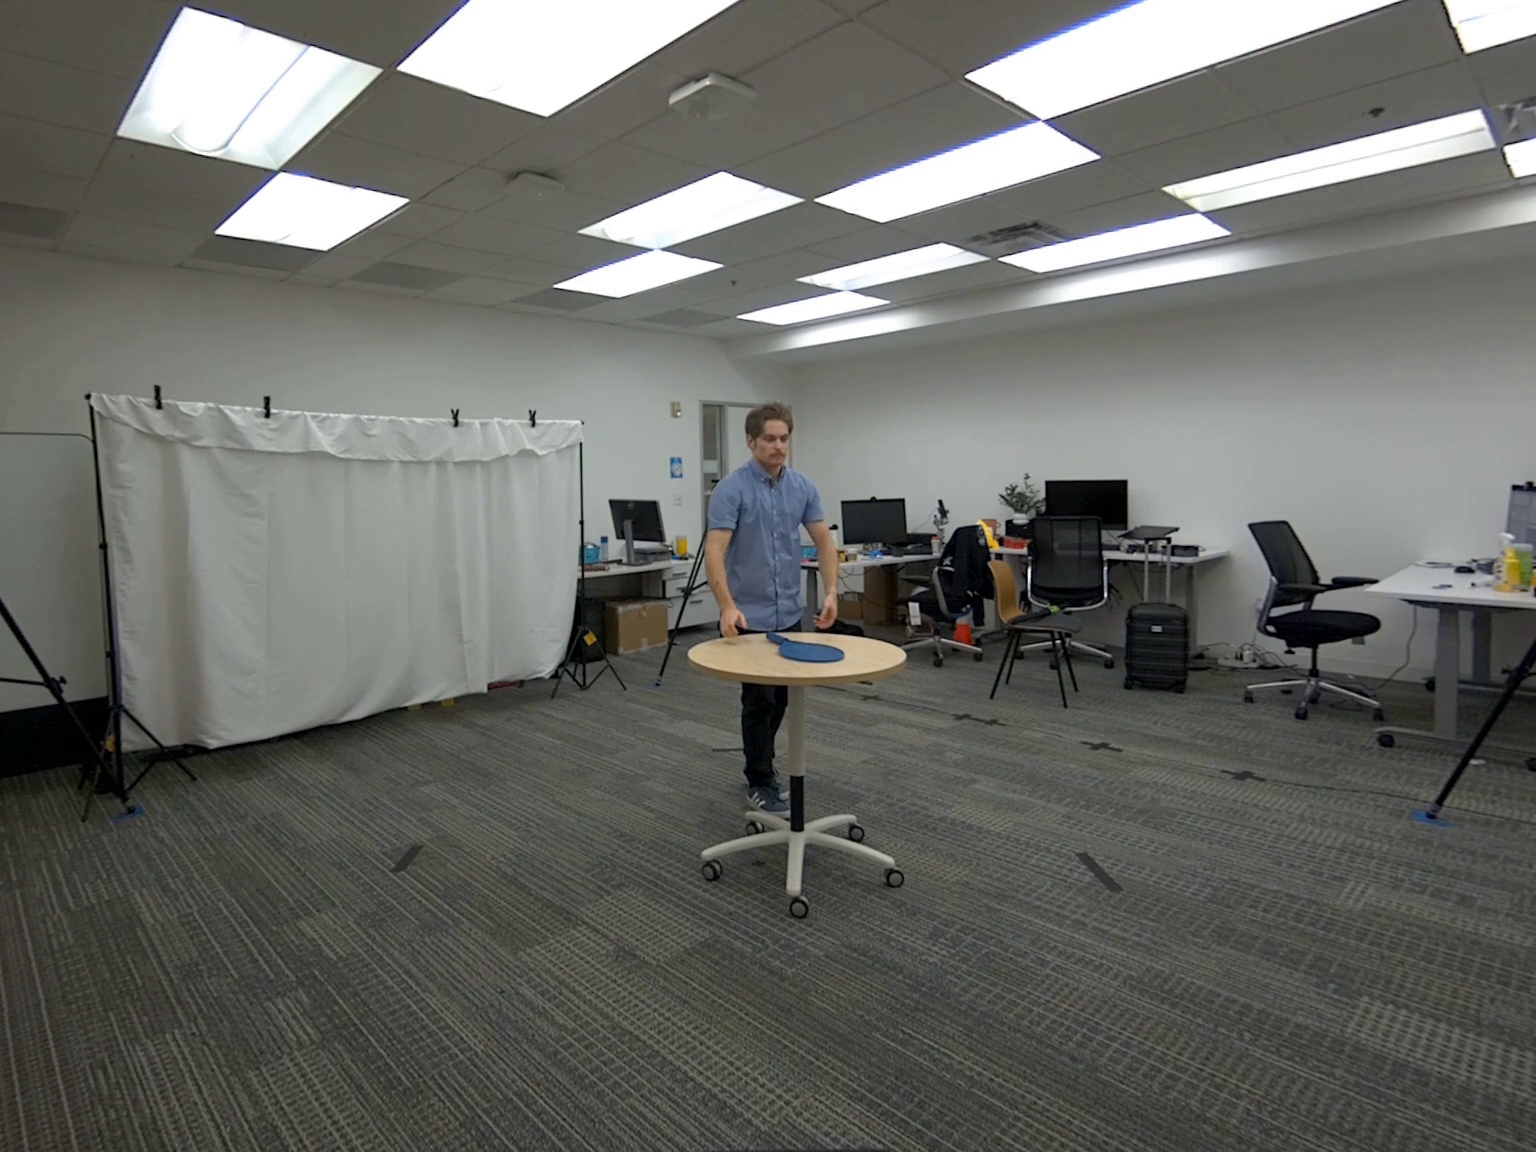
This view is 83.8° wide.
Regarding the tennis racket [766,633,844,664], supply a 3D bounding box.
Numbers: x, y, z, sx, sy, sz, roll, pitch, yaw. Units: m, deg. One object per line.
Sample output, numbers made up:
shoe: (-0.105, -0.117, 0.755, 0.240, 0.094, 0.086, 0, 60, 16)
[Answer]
tennis racket: (0.124, 0.261, 3.045, 0.209, 0.031, 0.444, -4, 9, -24)
